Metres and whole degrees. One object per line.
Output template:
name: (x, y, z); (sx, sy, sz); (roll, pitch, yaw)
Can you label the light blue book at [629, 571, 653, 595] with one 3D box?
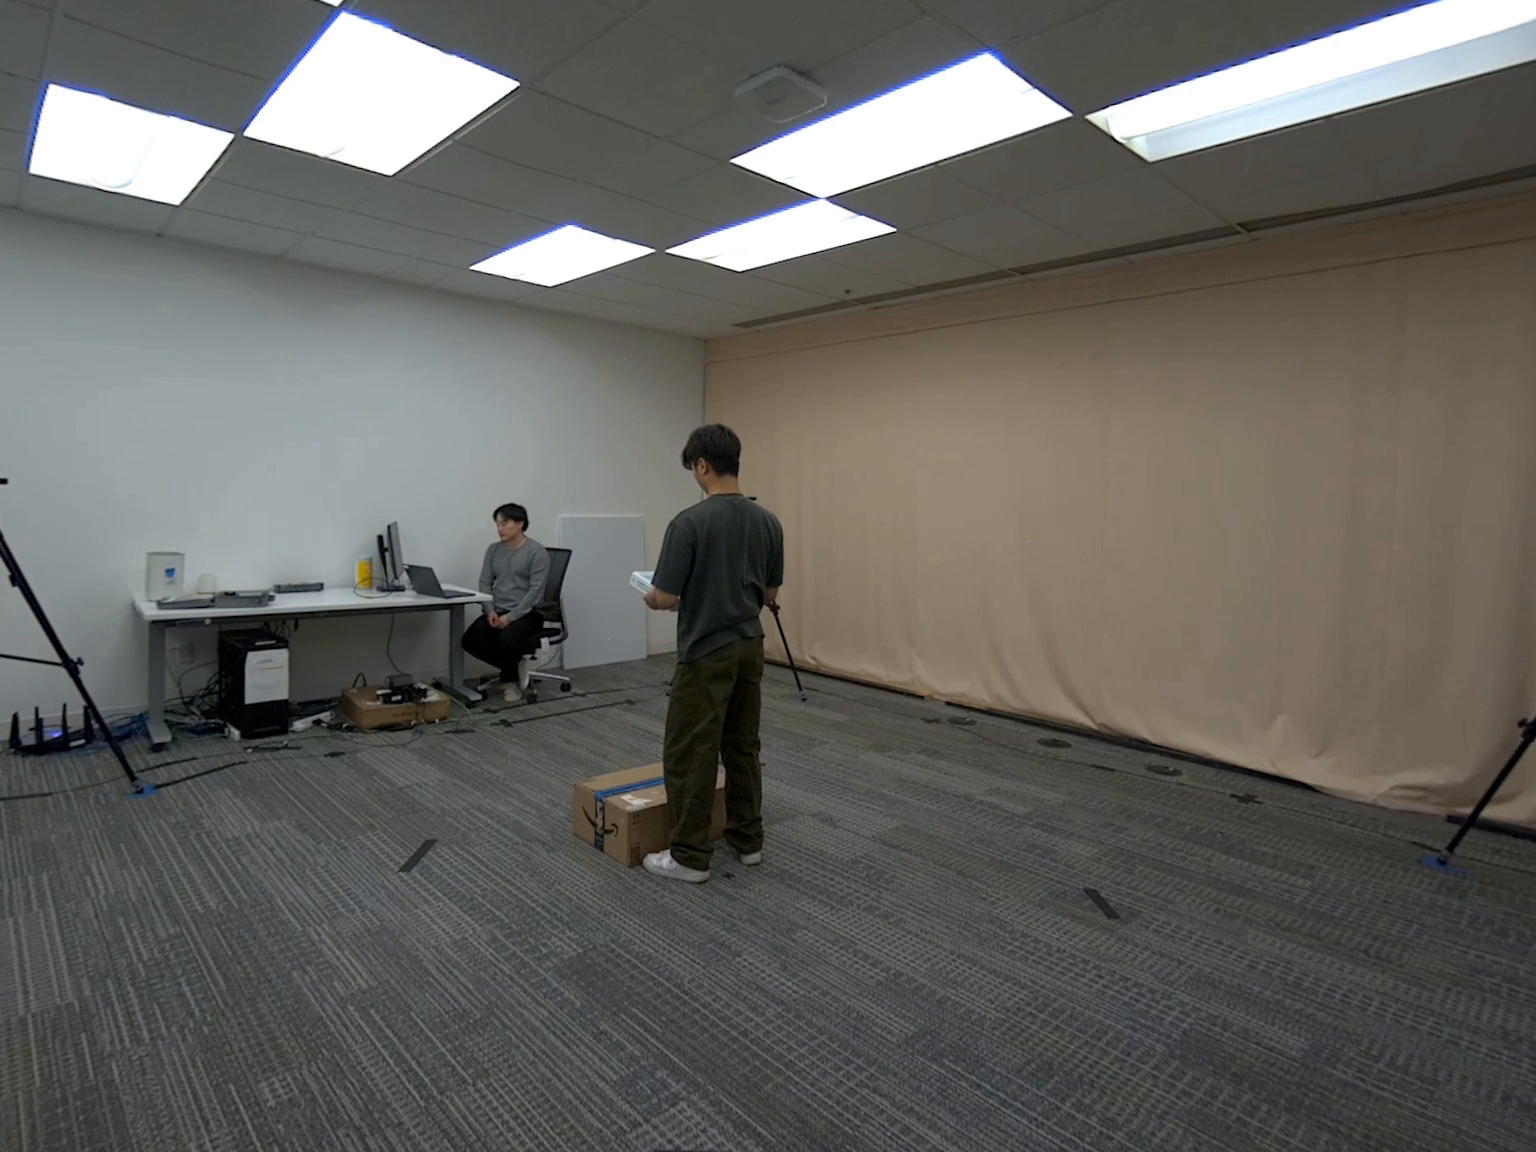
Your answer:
light blue book: (-0.397, 0.060, 3.395); (0.269, 0.059, 0.187); (27, 16, 34)
